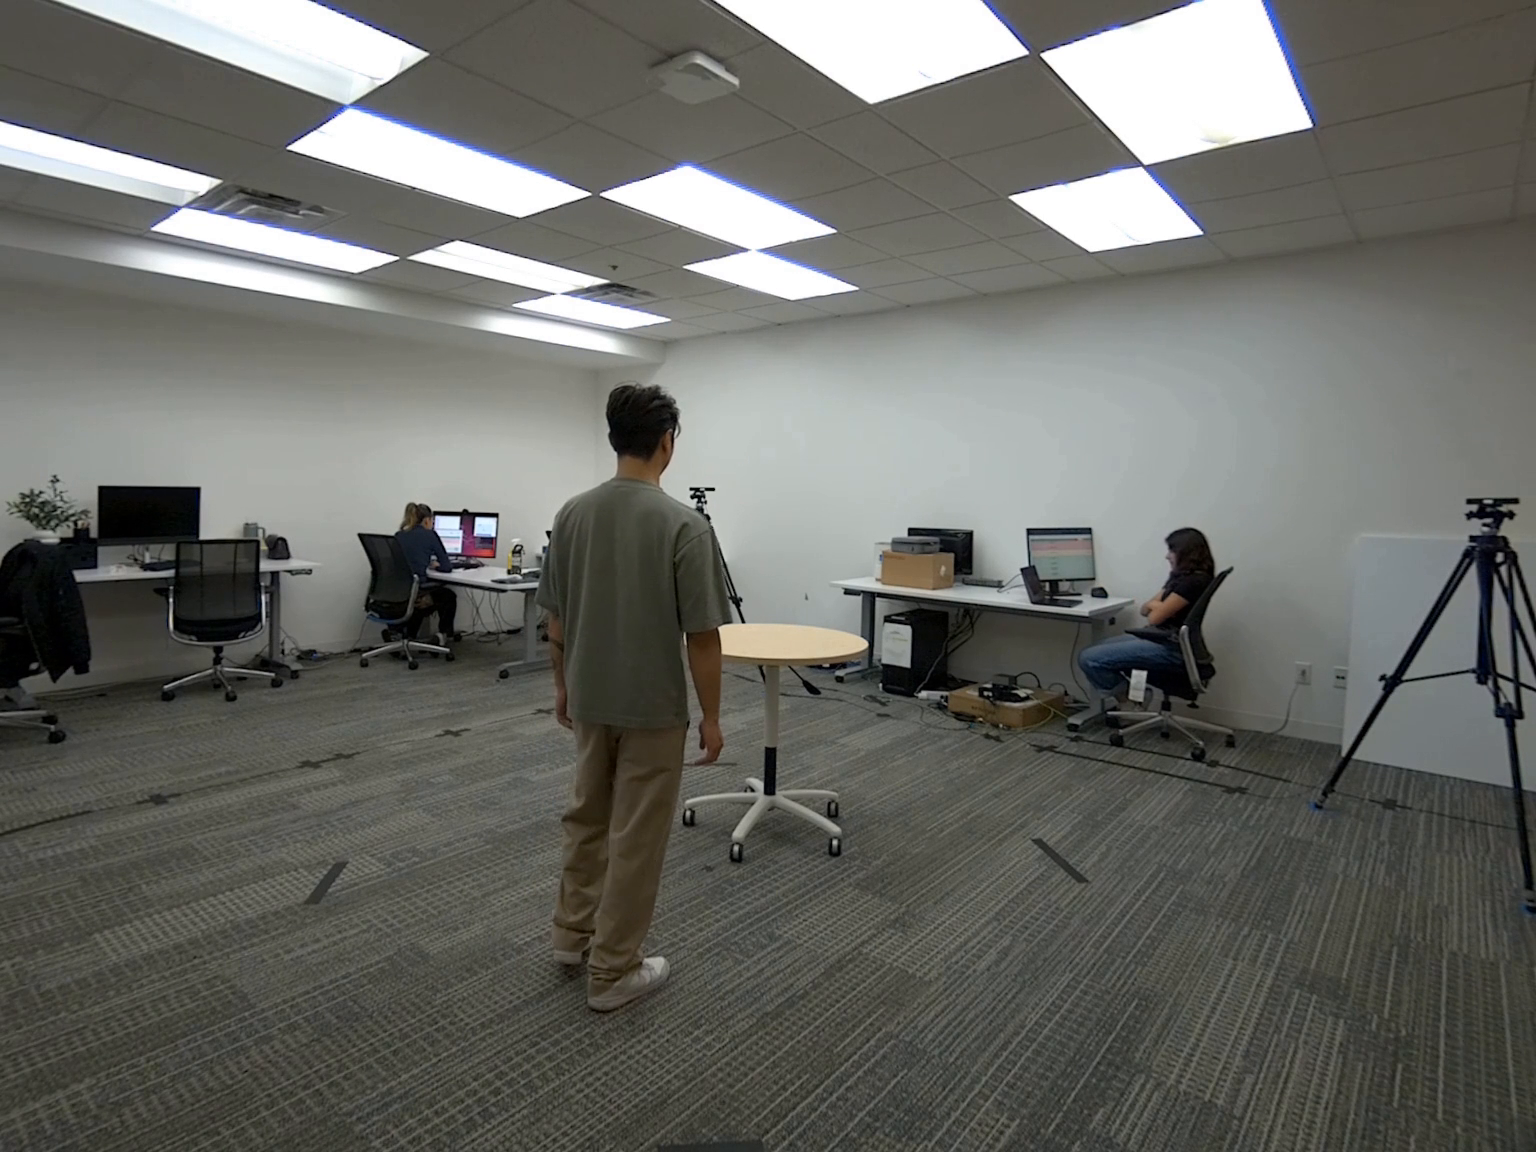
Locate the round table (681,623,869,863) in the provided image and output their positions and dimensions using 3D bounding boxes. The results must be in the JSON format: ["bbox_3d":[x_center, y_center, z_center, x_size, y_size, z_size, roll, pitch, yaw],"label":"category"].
[{"bbox_3d":[-0.011,0.643,3.485,0.784,0.784,0.789,1,4,-2],"label":"round table"}]
